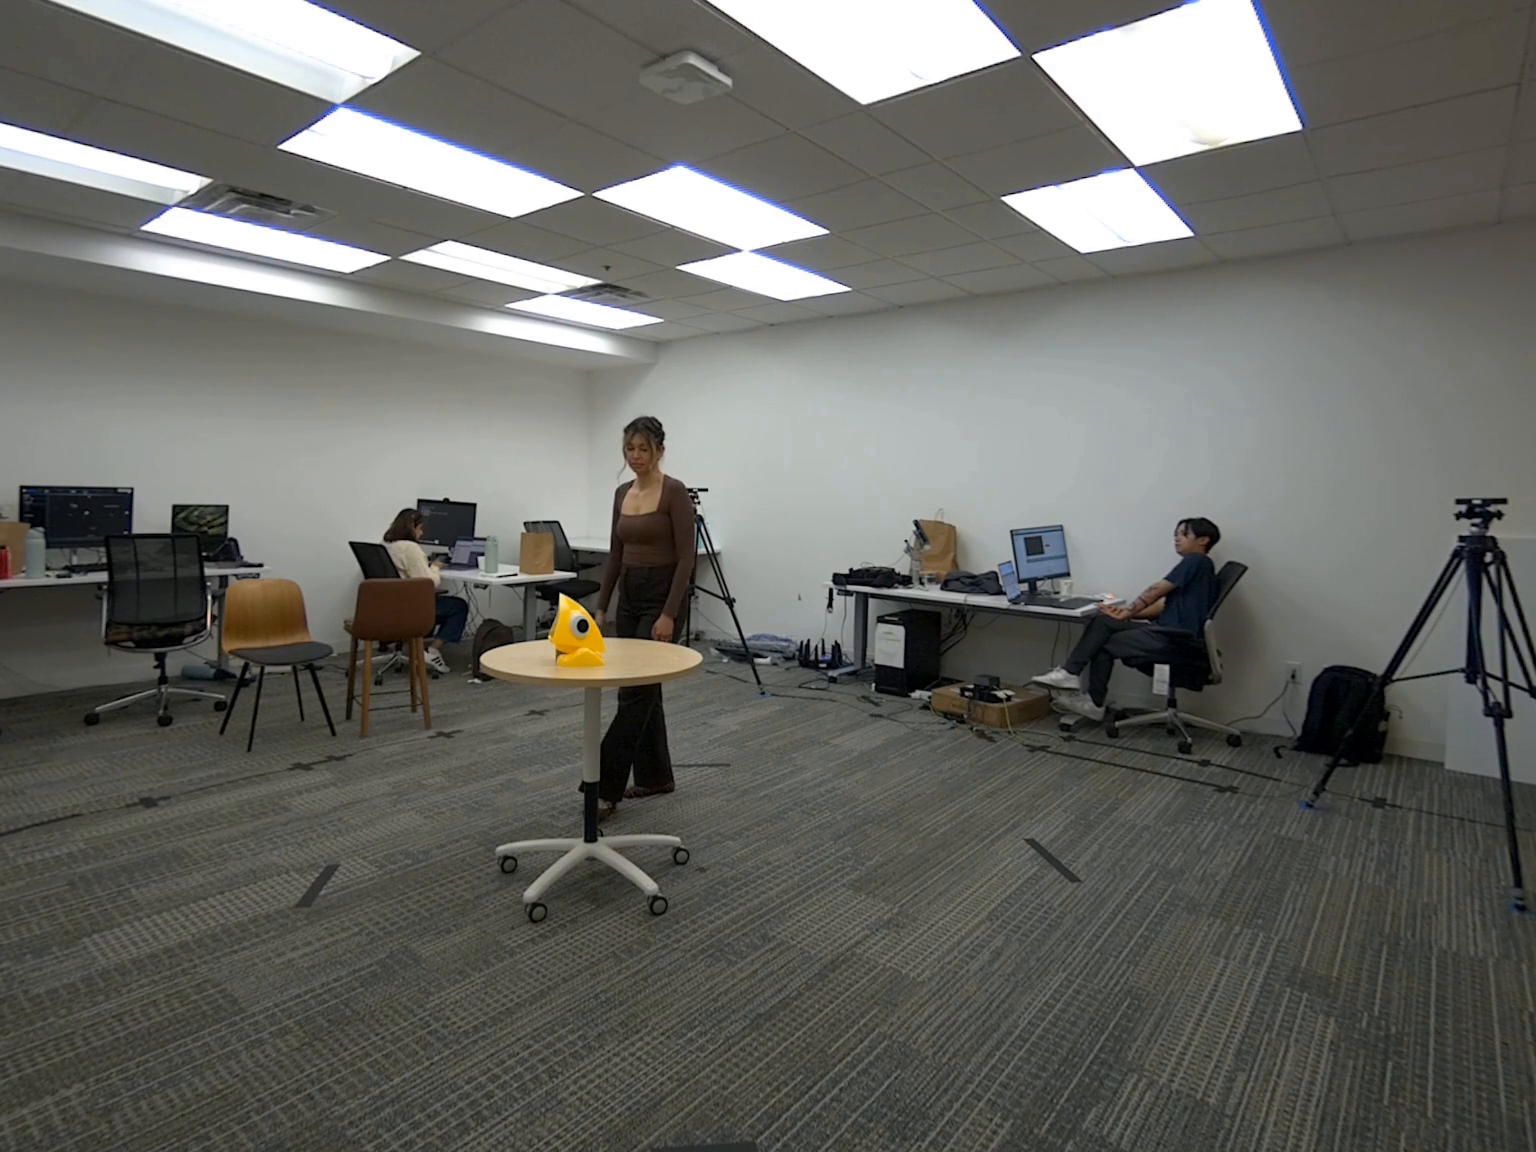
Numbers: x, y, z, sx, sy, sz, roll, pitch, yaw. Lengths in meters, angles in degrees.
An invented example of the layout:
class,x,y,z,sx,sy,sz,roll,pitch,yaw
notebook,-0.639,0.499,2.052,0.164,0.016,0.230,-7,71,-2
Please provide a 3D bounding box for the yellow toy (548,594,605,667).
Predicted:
class,x,y,z,sx,sy,sz,roll,pitch,yaw
yellow toy,-0.655,0.169,2.876,0.190,0.230,0.208,0,4,-15
